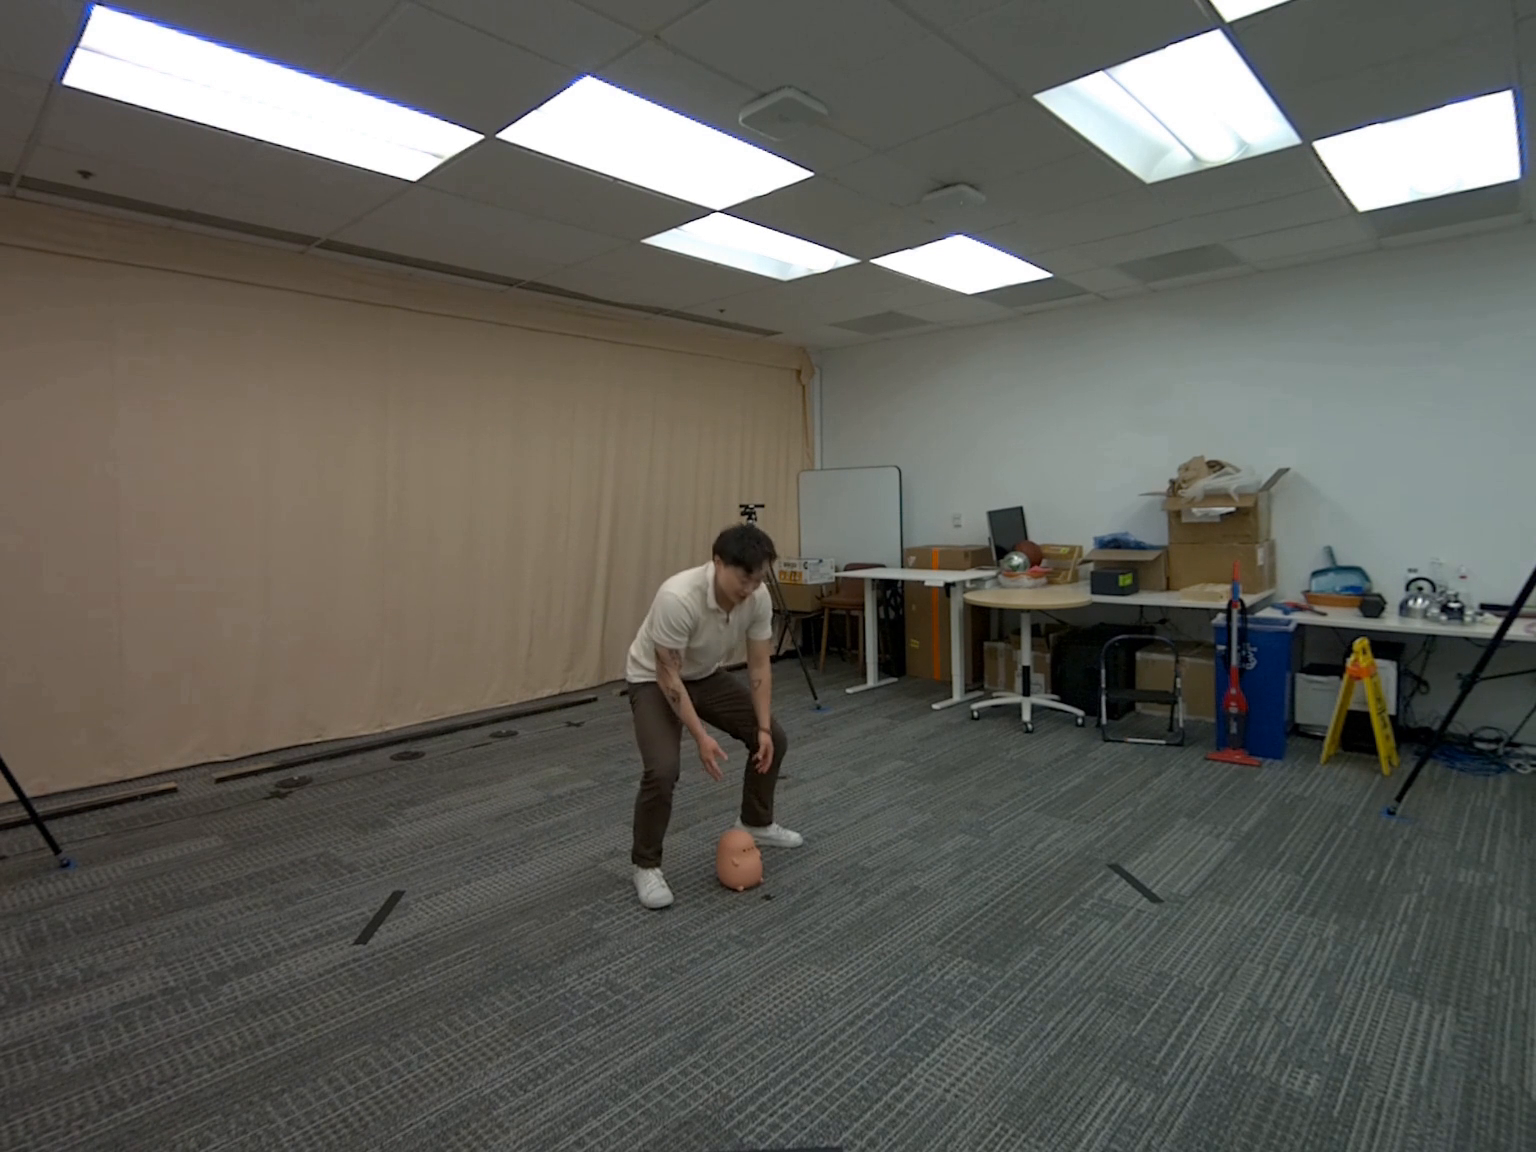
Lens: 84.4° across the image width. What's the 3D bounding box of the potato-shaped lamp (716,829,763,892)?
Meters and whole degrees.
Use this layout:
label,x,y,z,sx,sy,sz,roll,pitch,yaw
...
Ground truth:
label,x,y,z,sx,sy,sz,roll,pitch,yaw
potato-shaped lamp,-0.110,1.032,3.083,0.160,0.197,0.177,-5,6,-43
